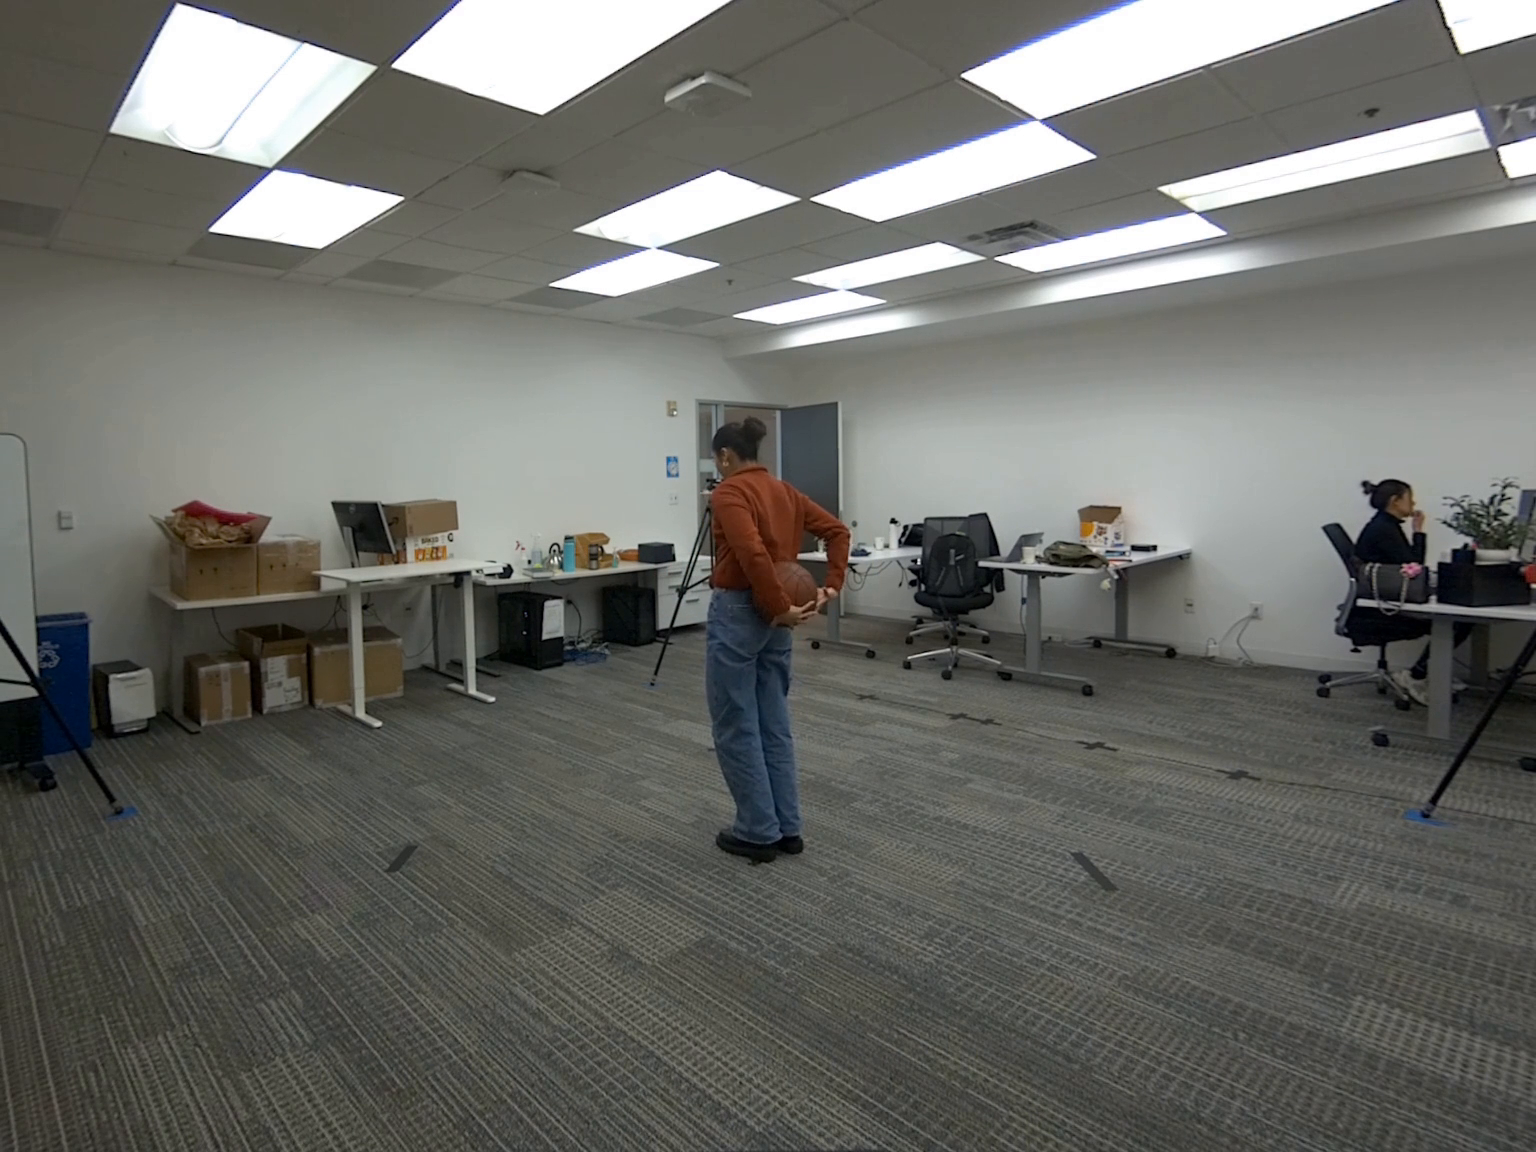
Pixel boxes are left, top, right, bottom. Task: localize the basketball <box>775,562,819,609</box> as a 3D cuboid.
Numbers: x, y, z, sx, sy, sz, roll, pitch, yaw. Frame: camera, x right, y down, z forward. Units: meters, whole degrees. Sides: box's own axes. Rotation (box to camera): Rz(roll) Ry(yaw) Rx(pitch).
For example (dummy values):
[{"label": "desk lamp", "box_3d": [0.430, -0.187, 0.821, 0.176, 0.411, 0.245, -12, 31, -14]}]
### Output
[{"label": "basketball", "box_3d": [0.061, 0.060, 3.062, 0.236, 0.235, 0.237, -1, 5, -2]}]
